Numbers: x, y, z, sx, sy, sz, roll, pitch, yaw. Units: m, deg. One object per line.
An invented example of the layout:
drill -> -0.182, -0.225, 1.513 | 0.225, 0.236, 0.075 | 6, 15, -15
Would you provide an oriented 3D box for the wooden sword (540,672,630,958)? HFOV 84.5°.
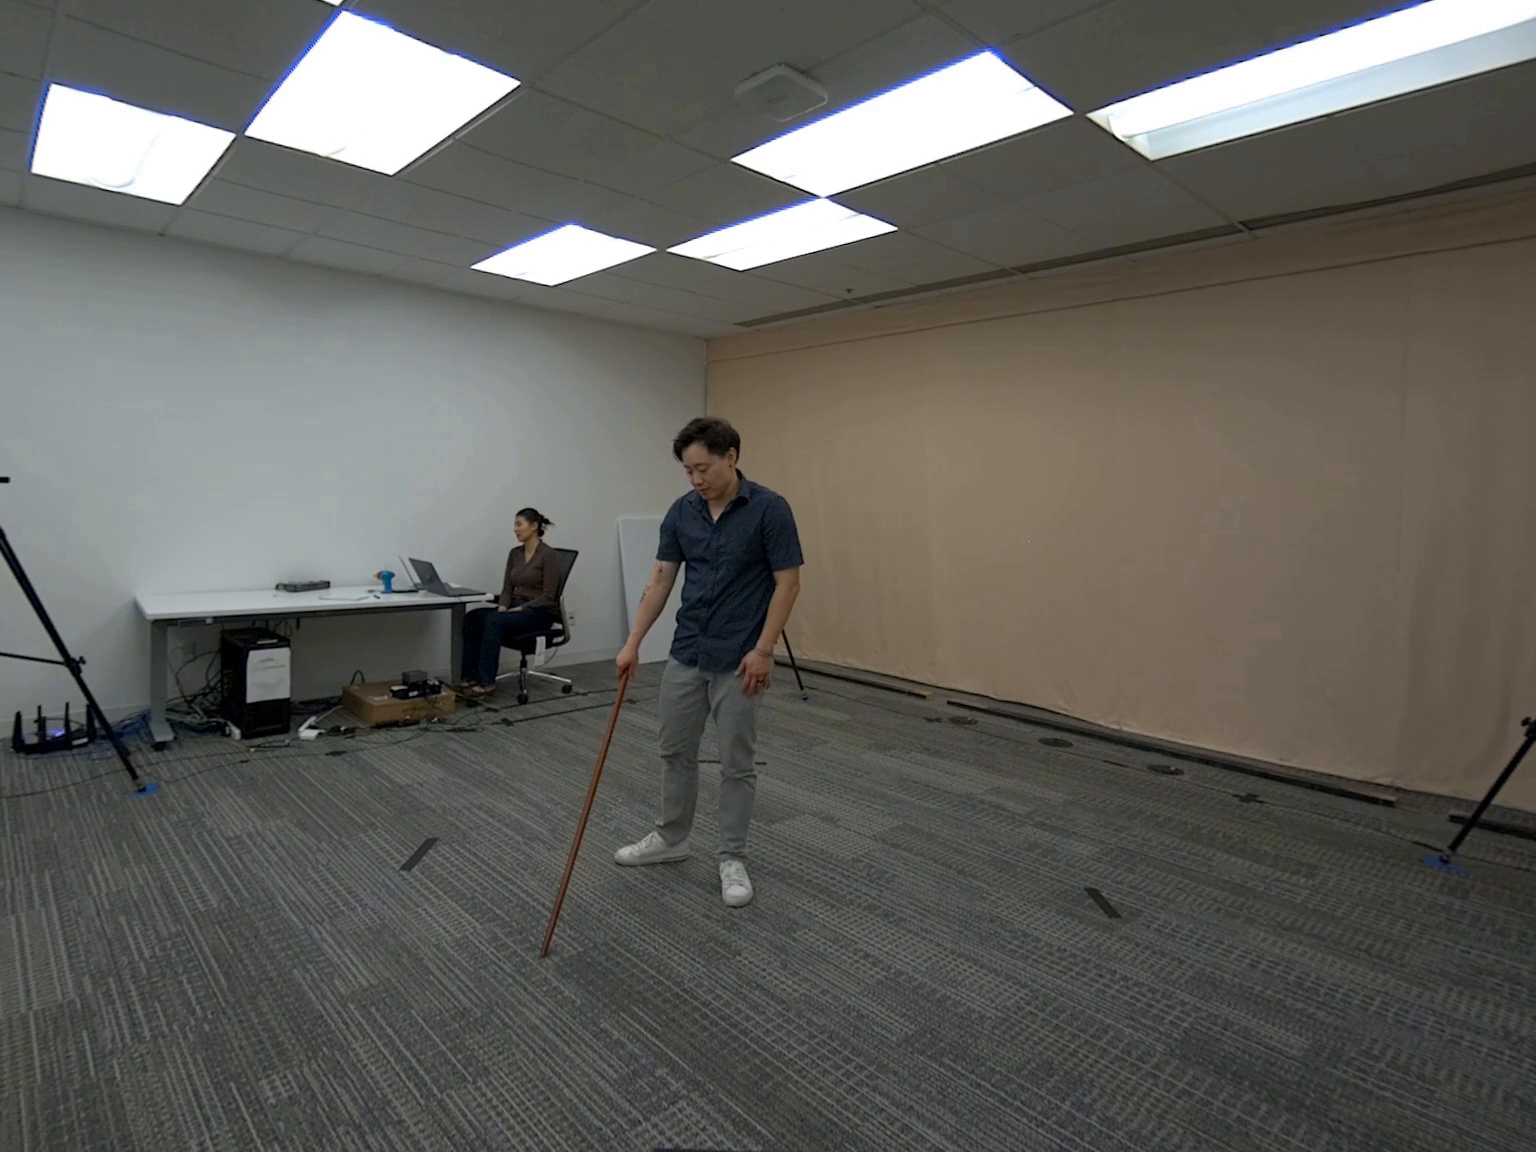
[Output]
wooden sword -> -0.591, 0.719, 2.805 | 0.023, 1.040, 0.052 | 30, -37, -27
